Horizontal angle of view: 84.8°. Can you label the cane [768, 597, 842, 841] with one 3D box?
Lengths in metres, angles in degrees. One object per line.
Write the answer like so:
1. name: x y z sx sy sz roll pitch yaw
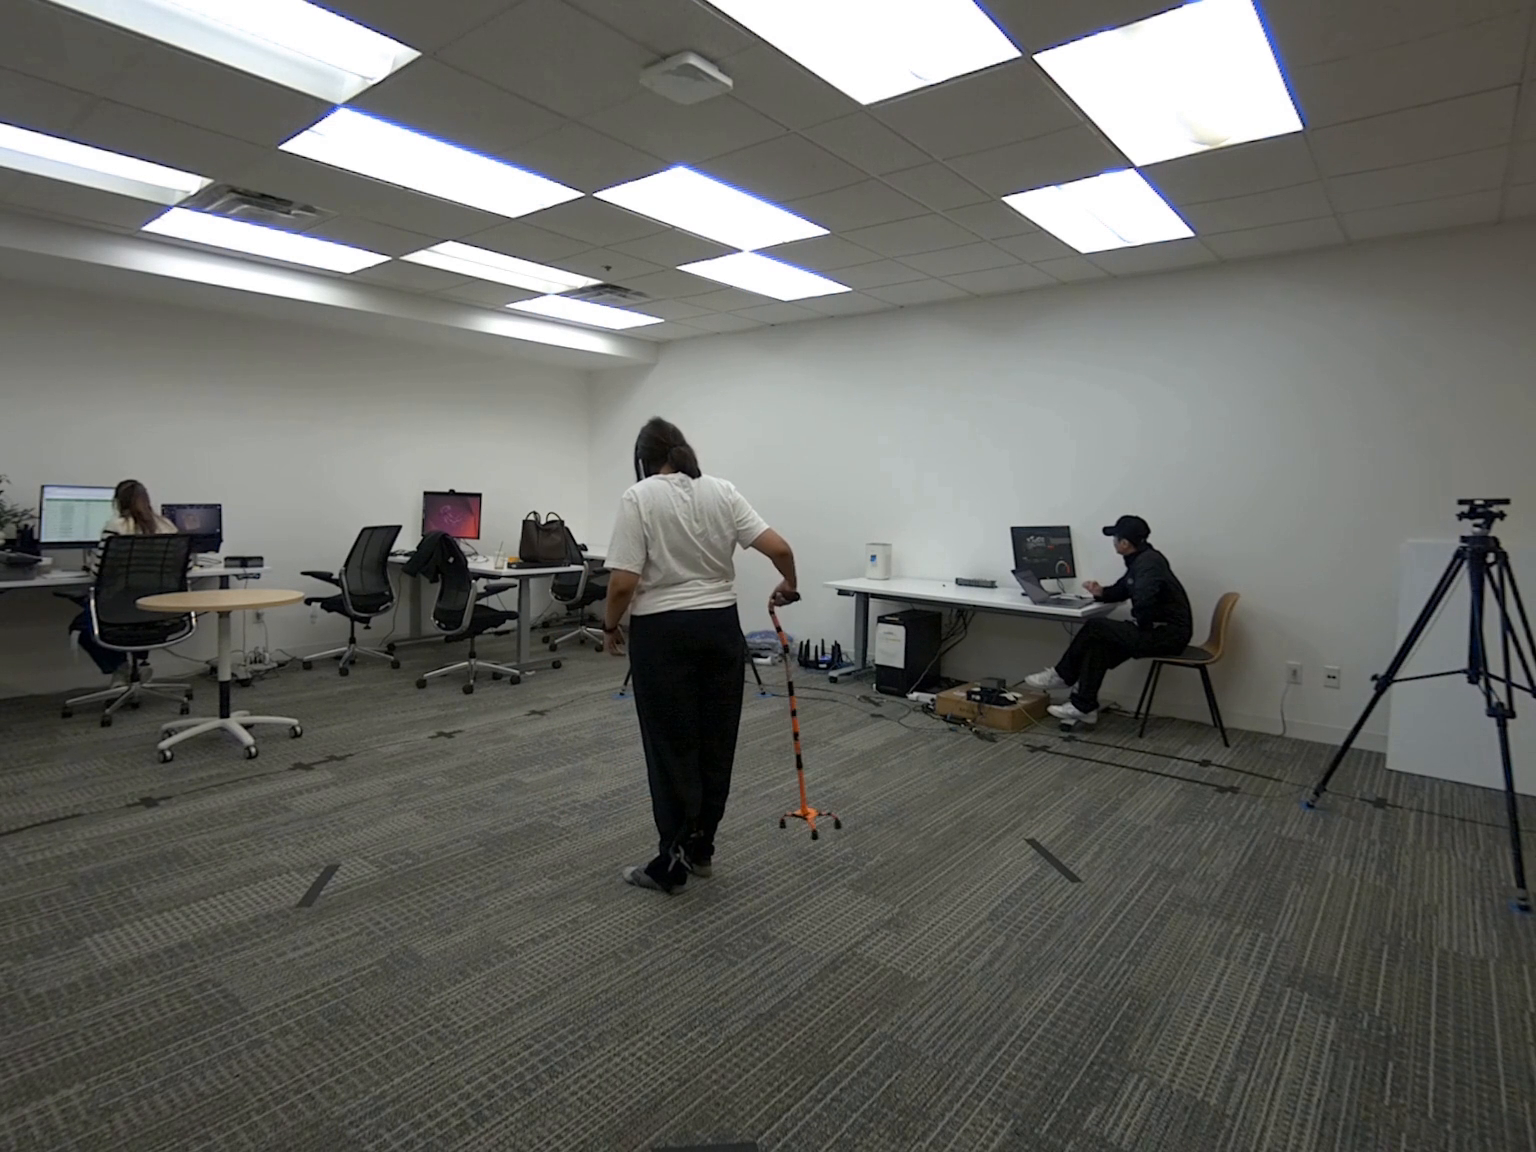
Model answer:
1. cane: 0.094 0.508 3.217 0.147 0.906 0.212 -9 3 -40
